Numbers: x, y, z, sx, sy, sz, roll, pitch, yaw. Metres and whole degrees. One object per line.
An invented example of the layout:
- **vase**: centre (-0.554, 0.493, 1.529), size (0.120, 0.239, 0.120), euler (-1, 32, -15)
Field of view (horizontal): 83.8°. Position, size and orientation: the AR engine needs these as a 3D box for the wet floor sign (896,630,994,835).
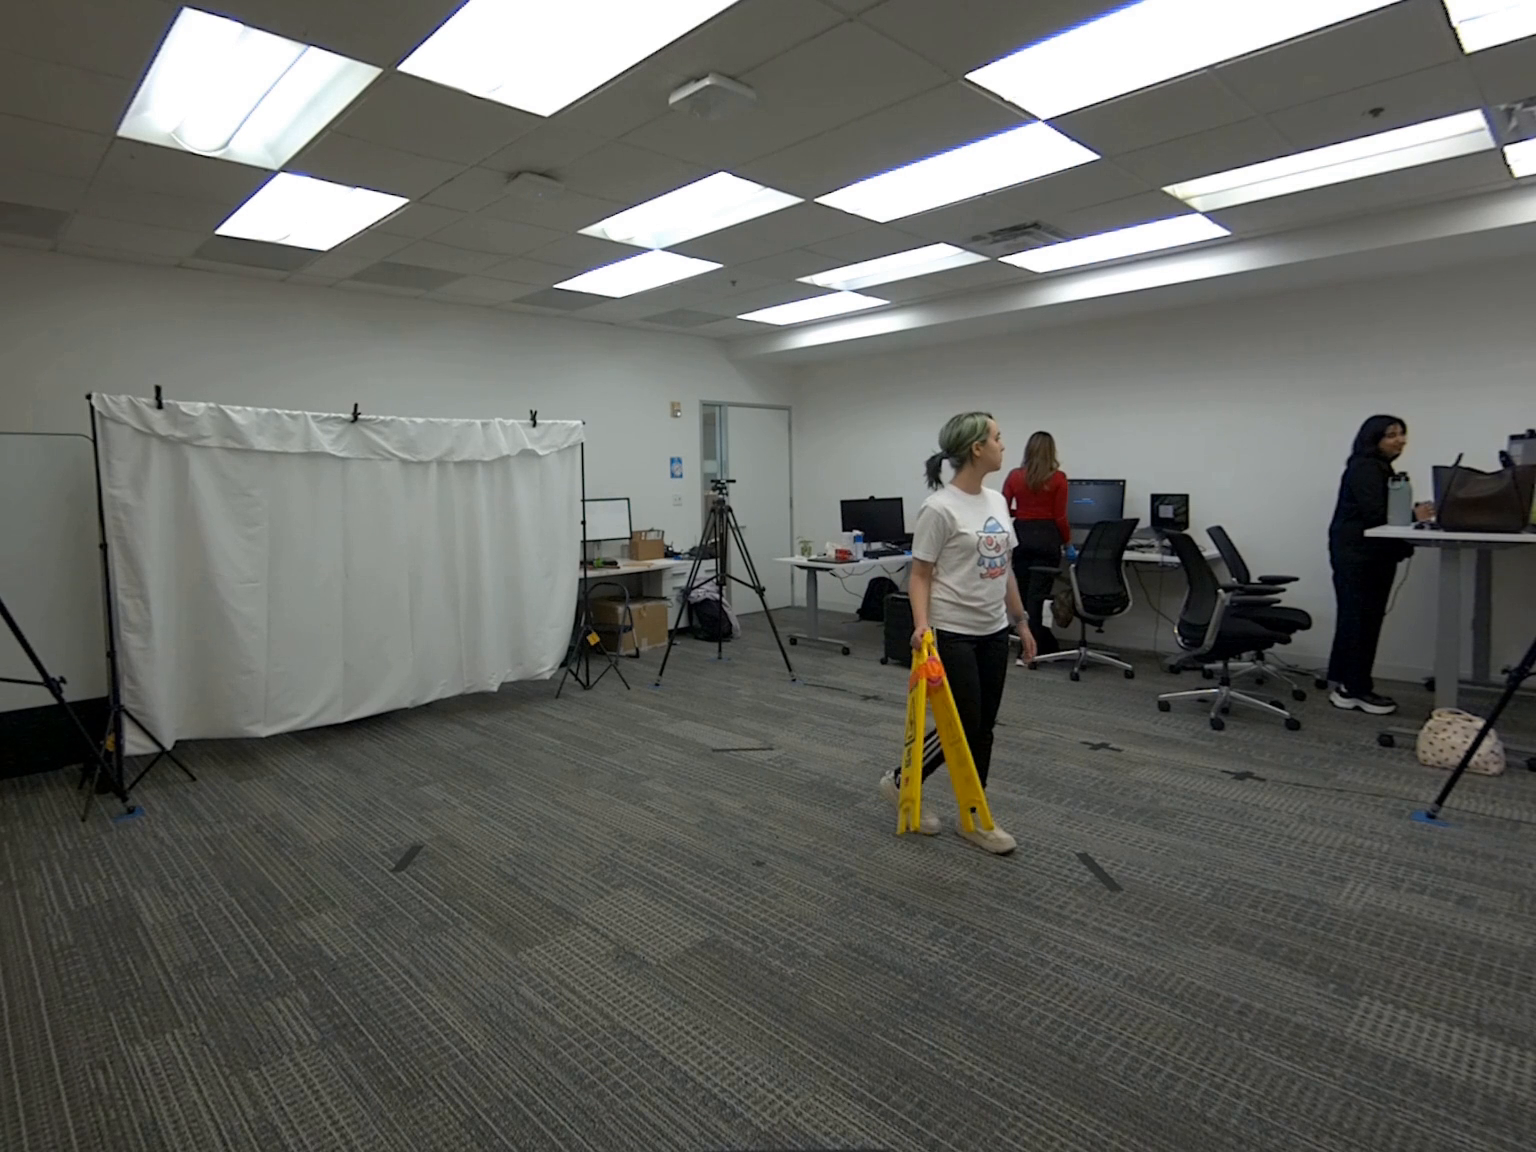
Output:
- **wet floor sign**: centre (0.563, 0.525, 2.882), size (0.289, 0.657, 0.278), euler (-1, -19, -3)
